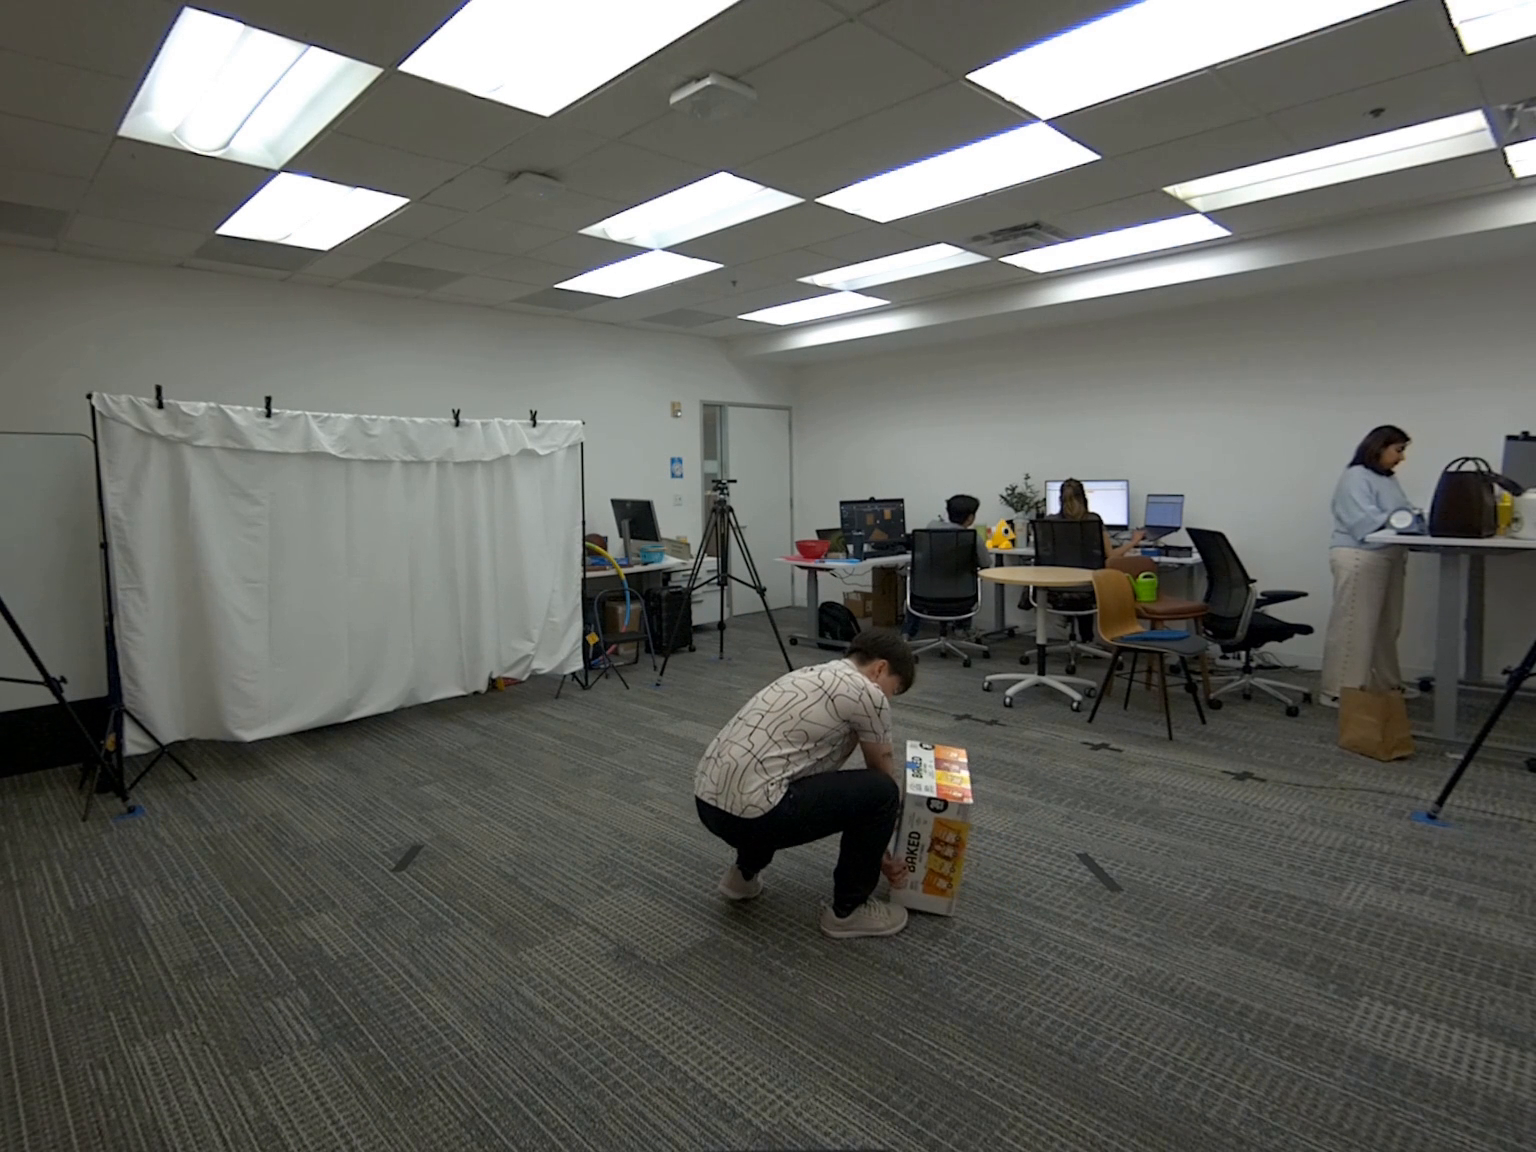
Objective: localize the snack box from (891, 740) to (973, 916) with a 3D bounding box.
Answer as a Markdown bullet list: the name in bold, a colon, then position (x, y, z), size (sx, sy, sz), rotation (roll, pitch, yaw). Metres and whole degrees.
- **snack box**: position (0.539, 0.814, 2.817), size (0.207, 0.400, 0.341), rotation (7, 16, 7)
